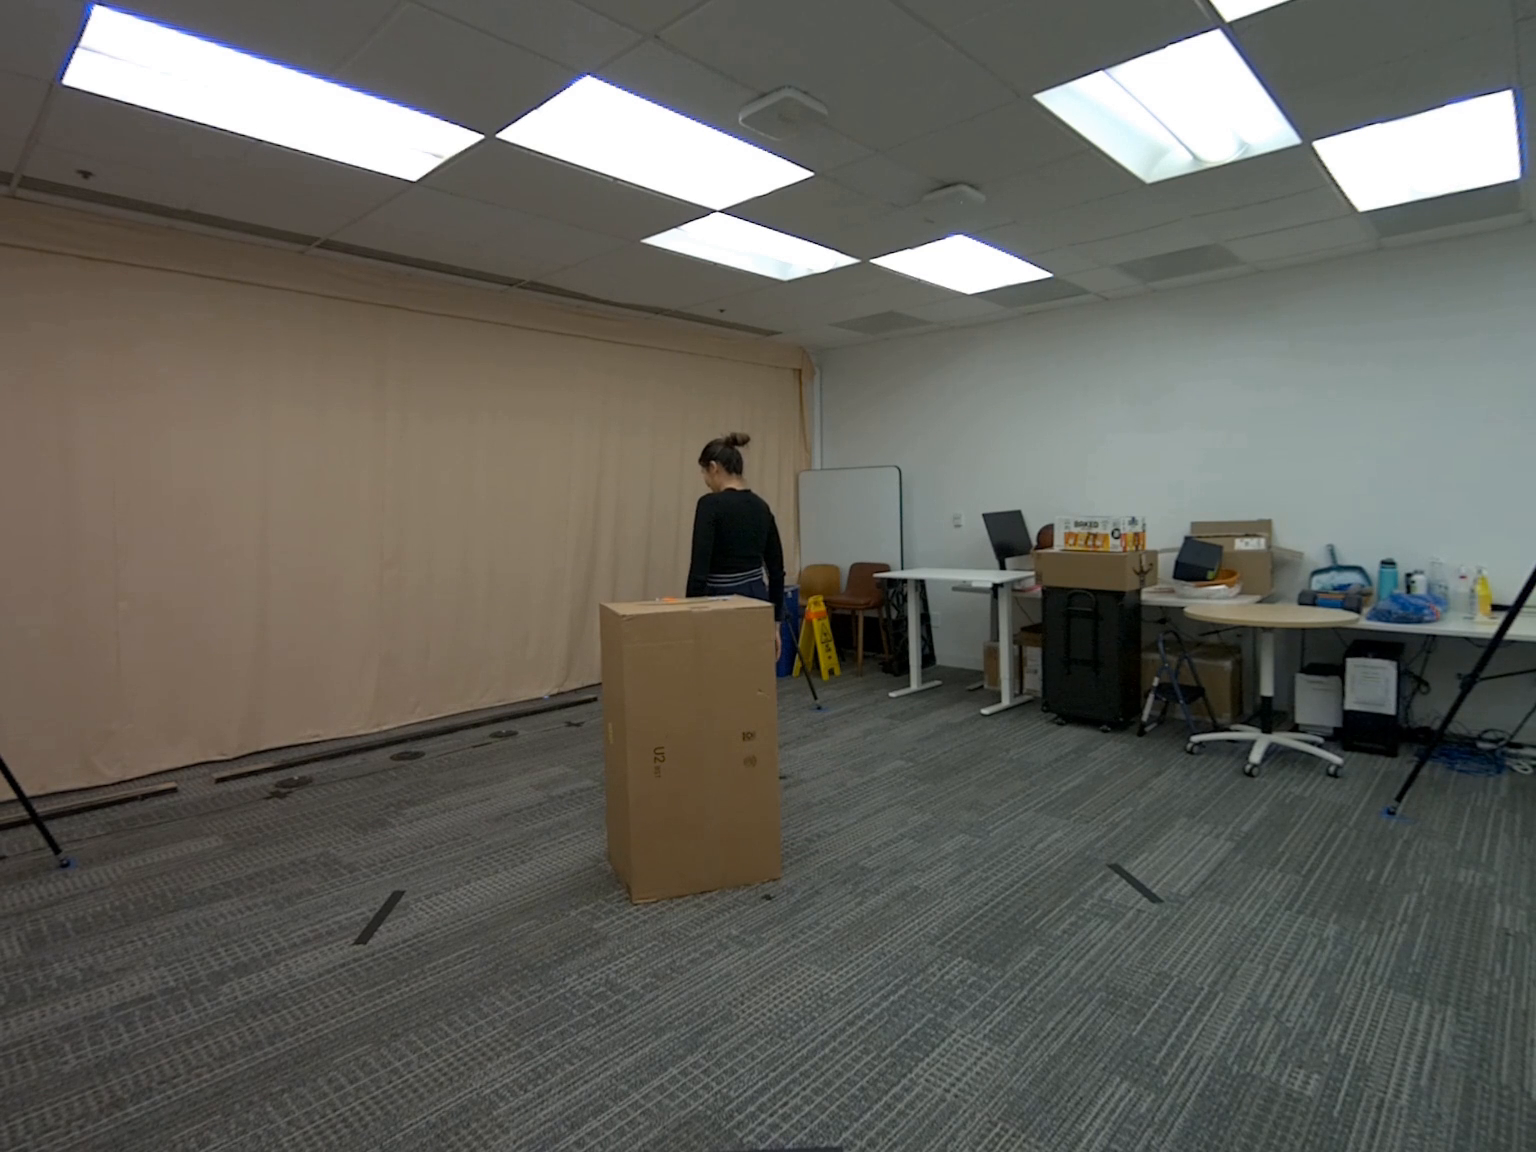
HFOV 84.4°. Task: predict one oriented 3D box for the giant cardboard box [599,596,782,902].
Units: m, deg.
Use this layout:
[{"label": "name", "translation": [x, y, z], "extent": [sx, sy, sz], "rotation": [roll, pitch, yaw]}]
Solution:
[{"label": "giant cardboard box", "translation": [-0.305, 0.617, 3.210], "extent": [0.566, 1.024, 0.436], "rotation": [-3, 3, -21]}]
